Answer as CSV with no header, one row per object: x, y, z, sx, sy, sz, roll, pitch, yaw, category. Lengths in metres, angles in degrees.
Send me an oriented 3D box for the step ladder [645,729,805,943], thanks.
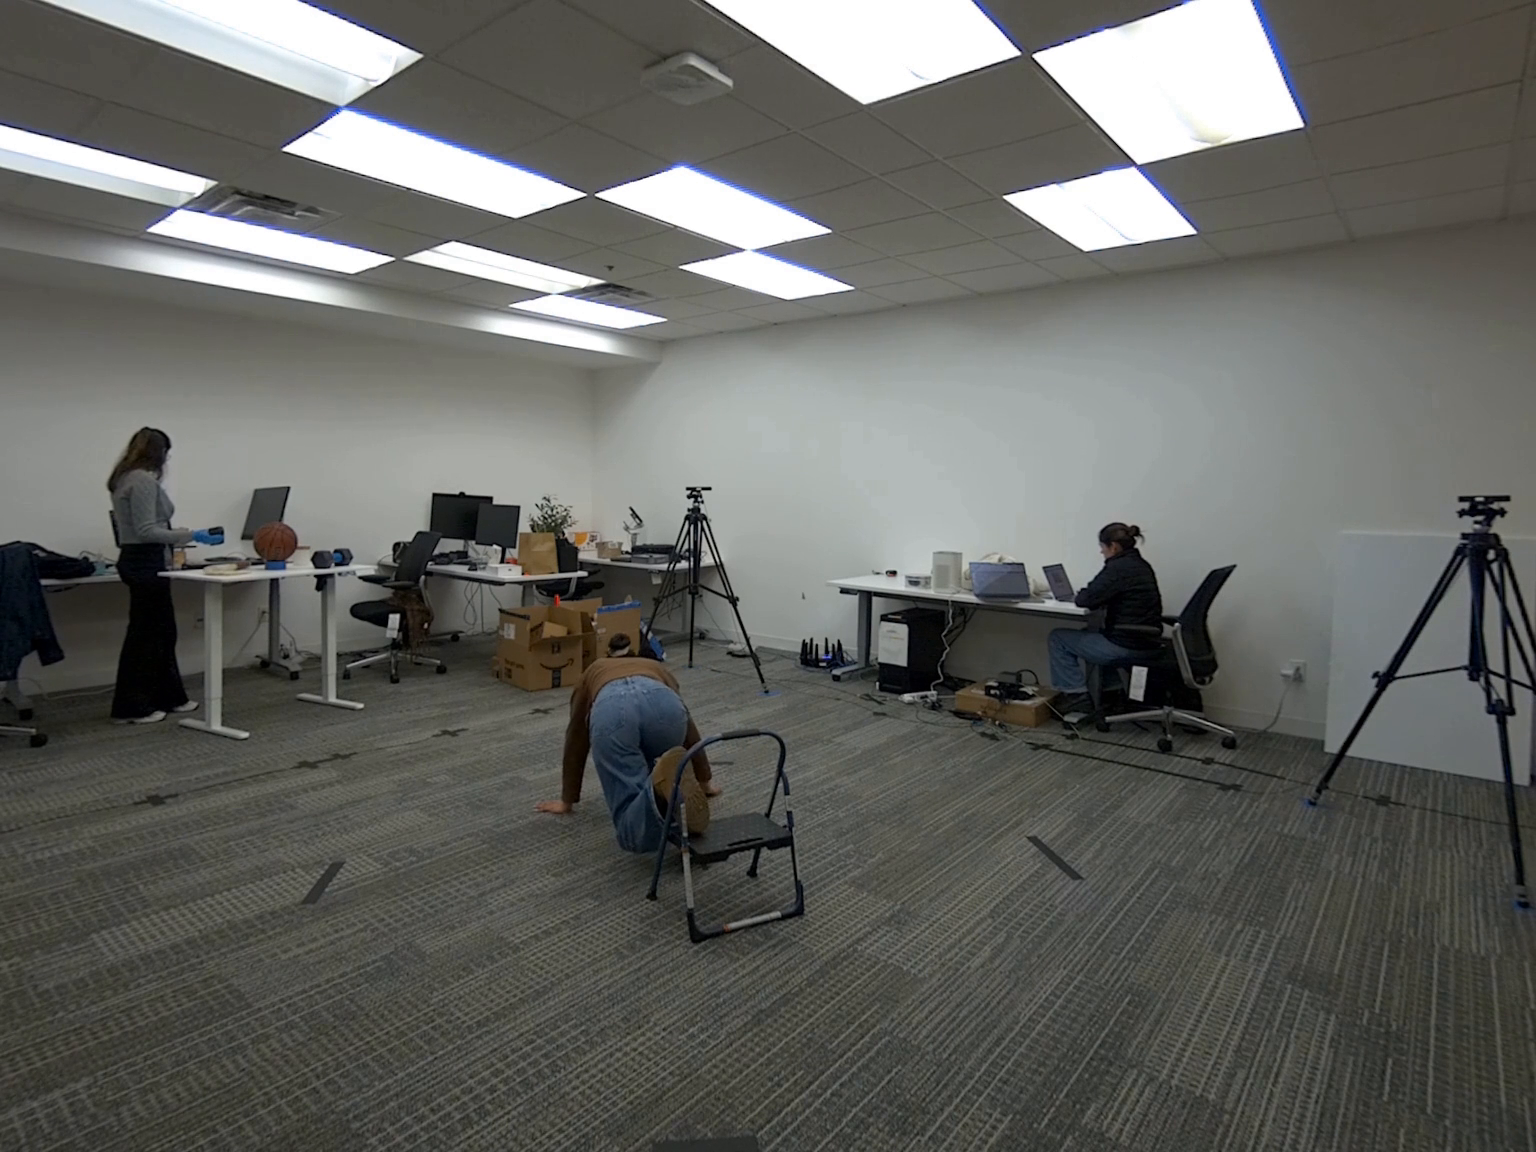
-0.145,0.796,2.815,0.419,0.604,0.360,-1,4,-31,step ladder
